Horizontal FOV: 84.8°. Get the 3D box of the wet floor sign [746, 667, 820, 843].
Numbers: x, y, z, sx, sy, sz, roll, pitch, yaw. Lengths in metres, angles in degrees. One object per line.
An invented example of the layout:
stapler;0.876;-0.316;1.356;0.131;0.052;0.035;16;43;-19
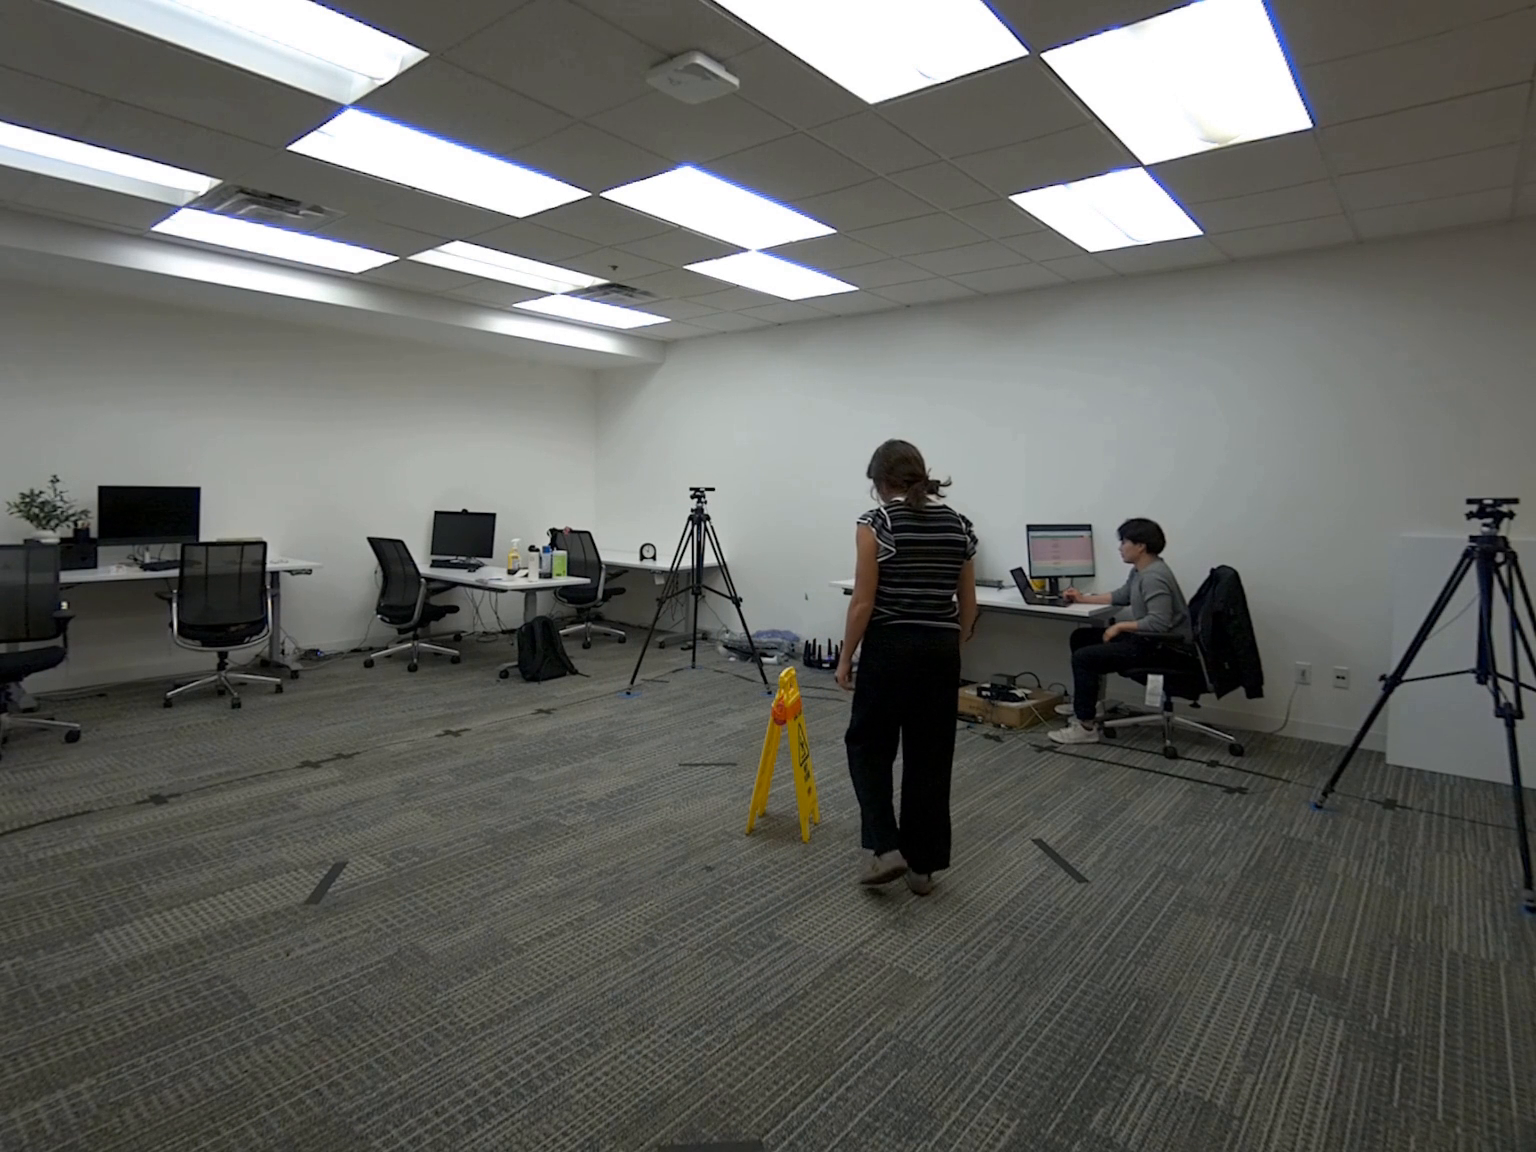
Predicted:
wet floor sign;0.068;0.709;3.504;0.295;0.643;0.279;3;5;14
